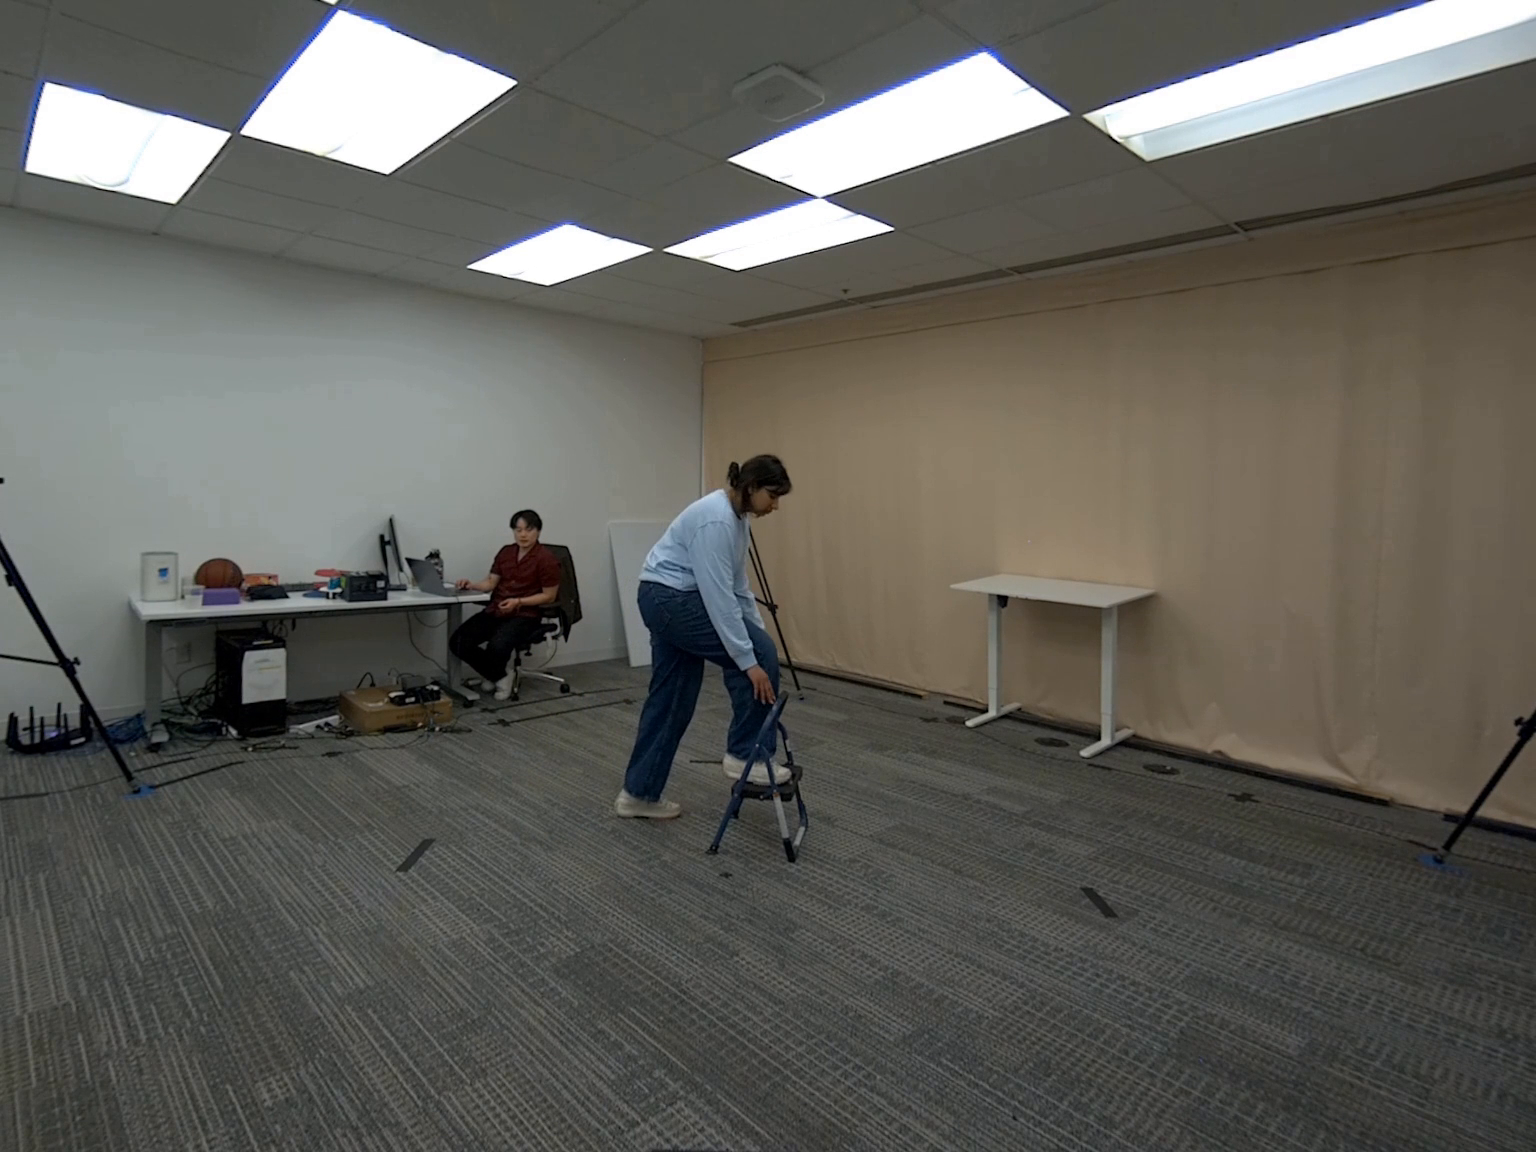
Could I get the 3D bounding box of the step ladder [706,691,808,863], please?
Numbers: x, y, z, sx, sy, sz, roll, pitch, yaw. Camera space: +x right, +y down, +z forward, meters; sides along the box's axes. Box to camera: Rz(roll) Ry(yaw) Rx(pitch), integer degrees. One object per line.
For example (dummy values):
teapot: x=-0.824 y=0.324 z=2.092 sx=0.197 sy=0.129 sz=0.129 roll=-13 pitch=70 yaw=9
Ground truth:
step ladder: x=-0.029 y=0.779 z=3.434 sx=0.353 sy=0.604 sz=0.427 roll=2 pitch=4 yaw=11
